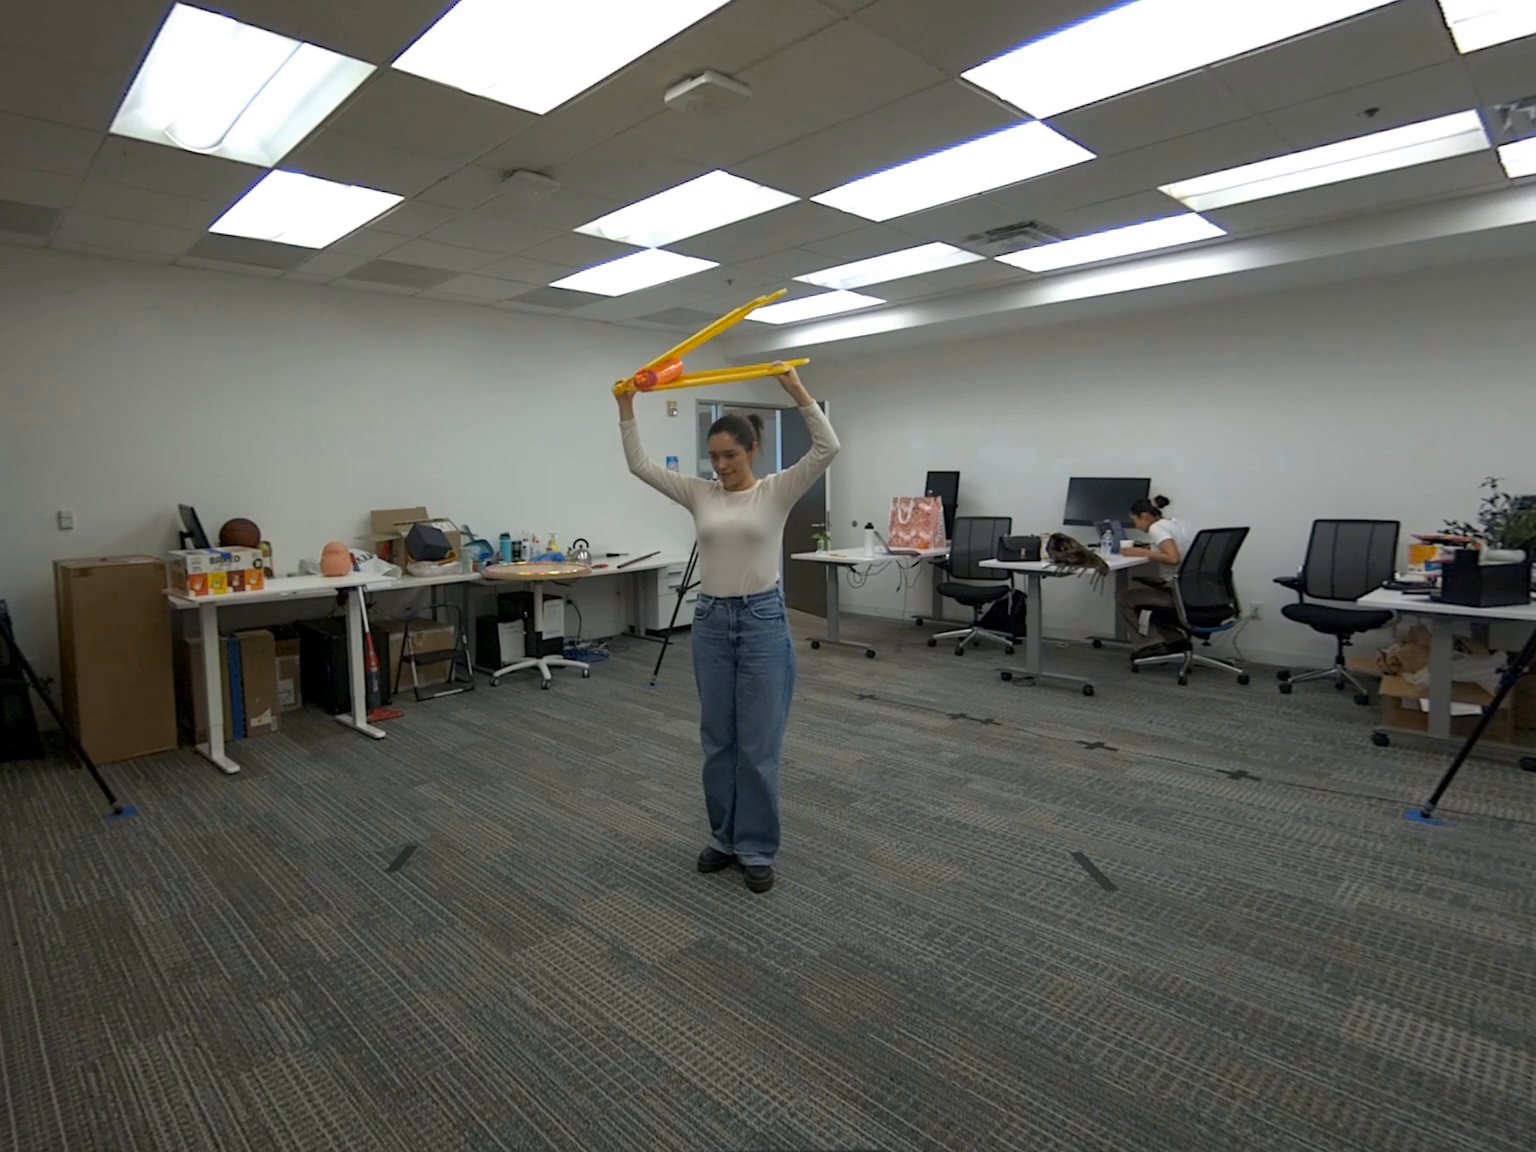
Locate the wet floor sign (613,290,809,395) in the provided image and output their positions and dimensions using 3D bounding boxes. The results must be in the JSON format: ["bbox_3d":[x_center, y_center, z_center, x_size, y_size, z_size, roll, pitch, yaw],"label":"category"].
[{"bbox_3d":[-0.232,-0.745,2.935,0.658,0.285,0.282,-12,16,26],"label":"wet floor sign"}]
